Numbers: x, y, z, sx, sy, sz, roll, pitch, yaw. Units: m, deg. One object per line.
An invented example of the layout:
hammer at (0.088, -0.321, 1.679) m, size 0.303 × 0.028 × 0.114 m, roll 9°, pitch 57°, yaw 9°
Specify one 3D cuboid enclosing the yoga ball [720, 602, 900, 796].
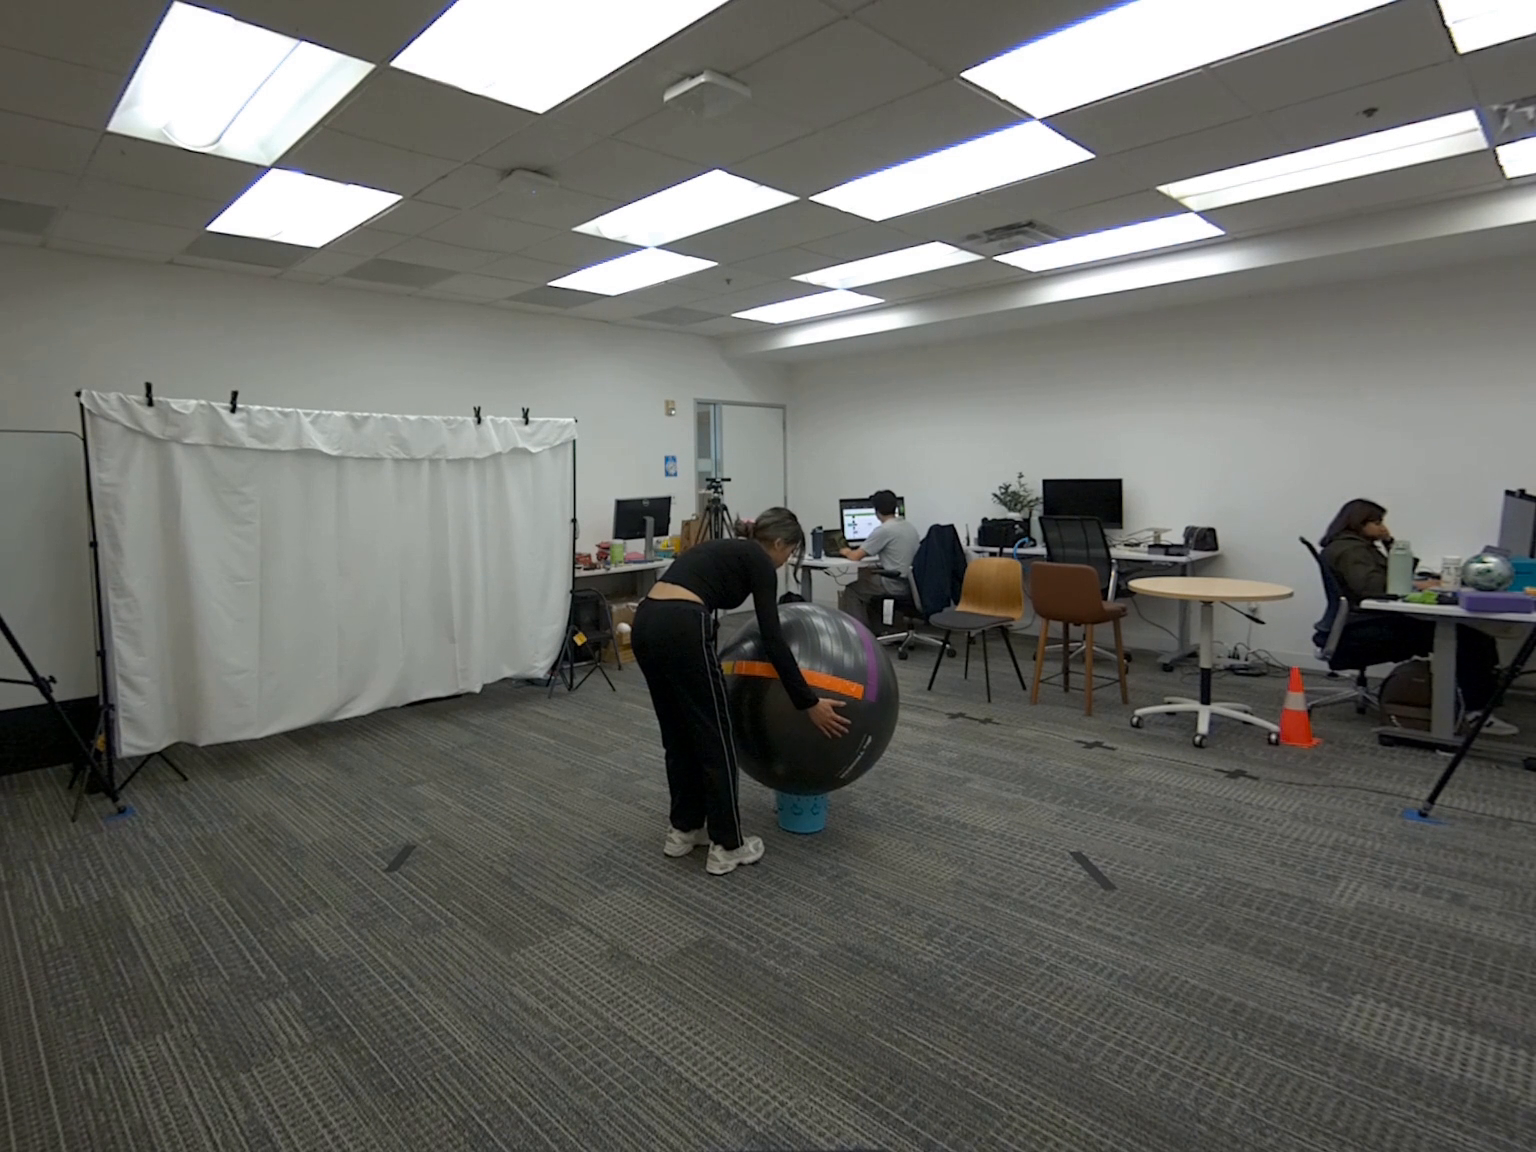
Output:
yoga ball at (0.145, 0.492, 3.448) m, size 0.757 × 0.755 × 0.762 m, roll -1°, pitch 5°, yaw -2°
